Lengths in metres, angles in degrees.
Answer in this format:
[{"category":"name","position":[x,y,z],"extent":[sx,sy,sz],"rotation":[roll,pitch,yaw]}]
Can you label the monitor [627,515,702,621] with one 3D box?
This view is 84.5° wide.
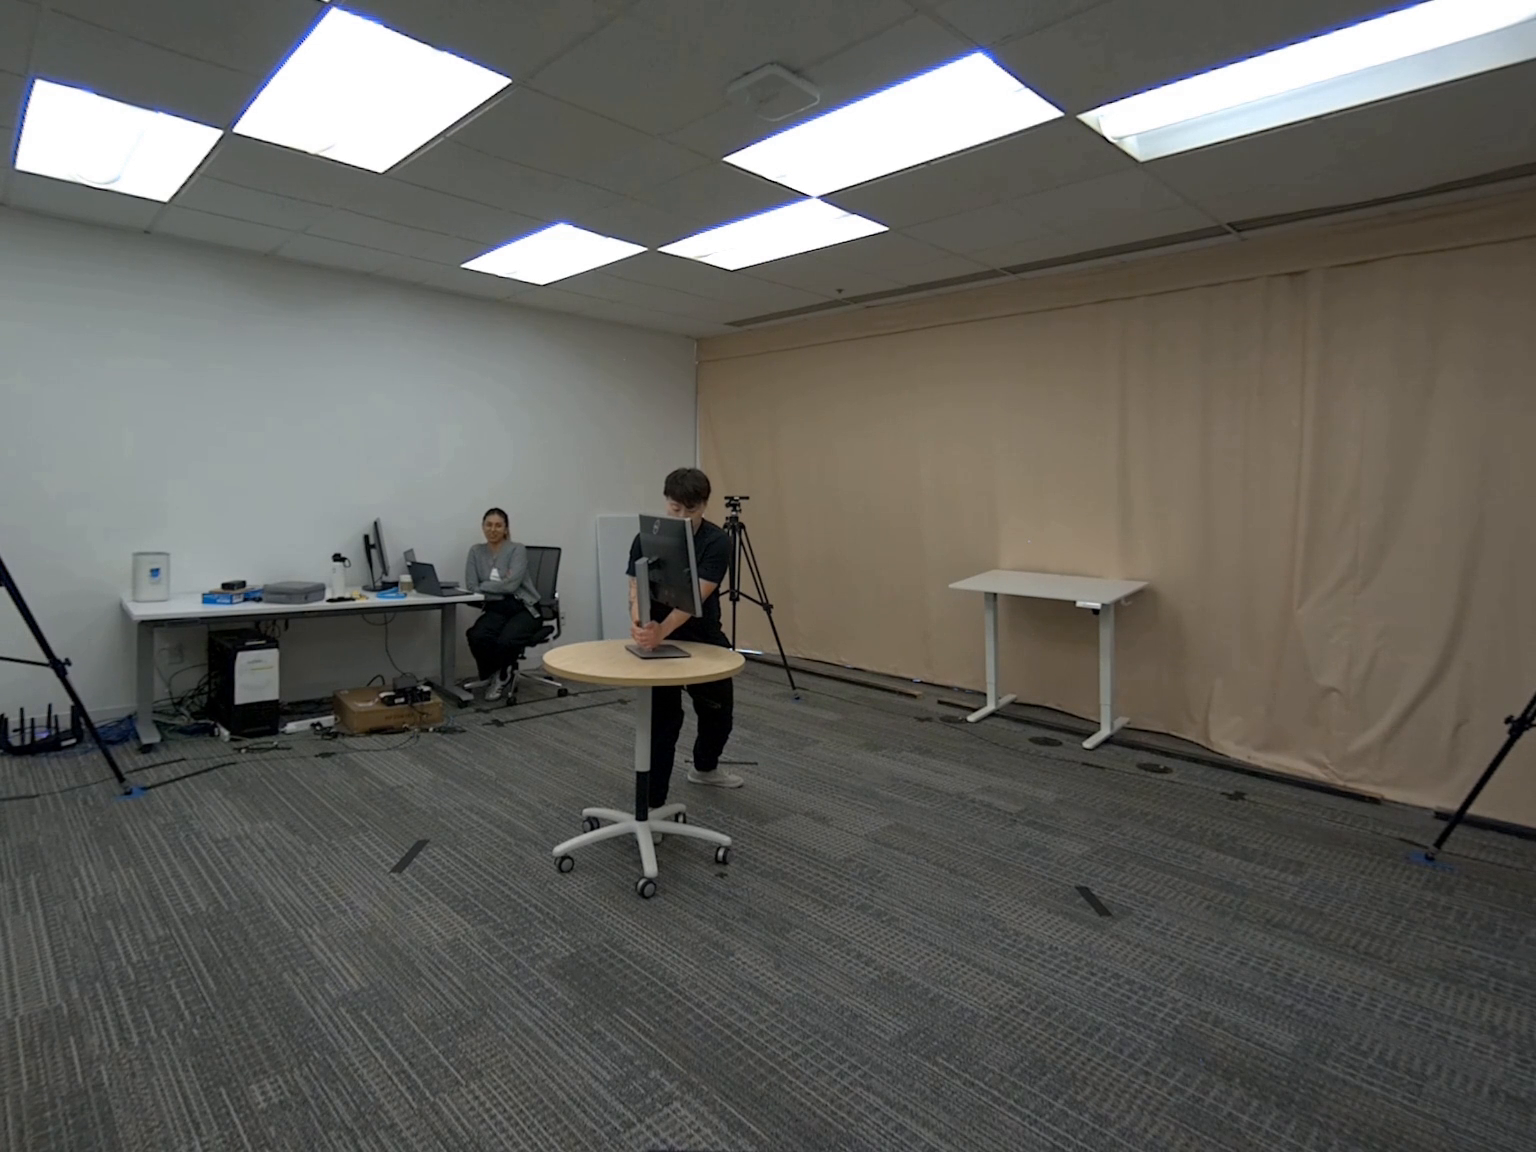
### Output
[{"category":"monitor","position":[-0.439,0.038,3.289],"extent":[0.183,0.521,0.550],"rotation":[2,4,-26]}]
